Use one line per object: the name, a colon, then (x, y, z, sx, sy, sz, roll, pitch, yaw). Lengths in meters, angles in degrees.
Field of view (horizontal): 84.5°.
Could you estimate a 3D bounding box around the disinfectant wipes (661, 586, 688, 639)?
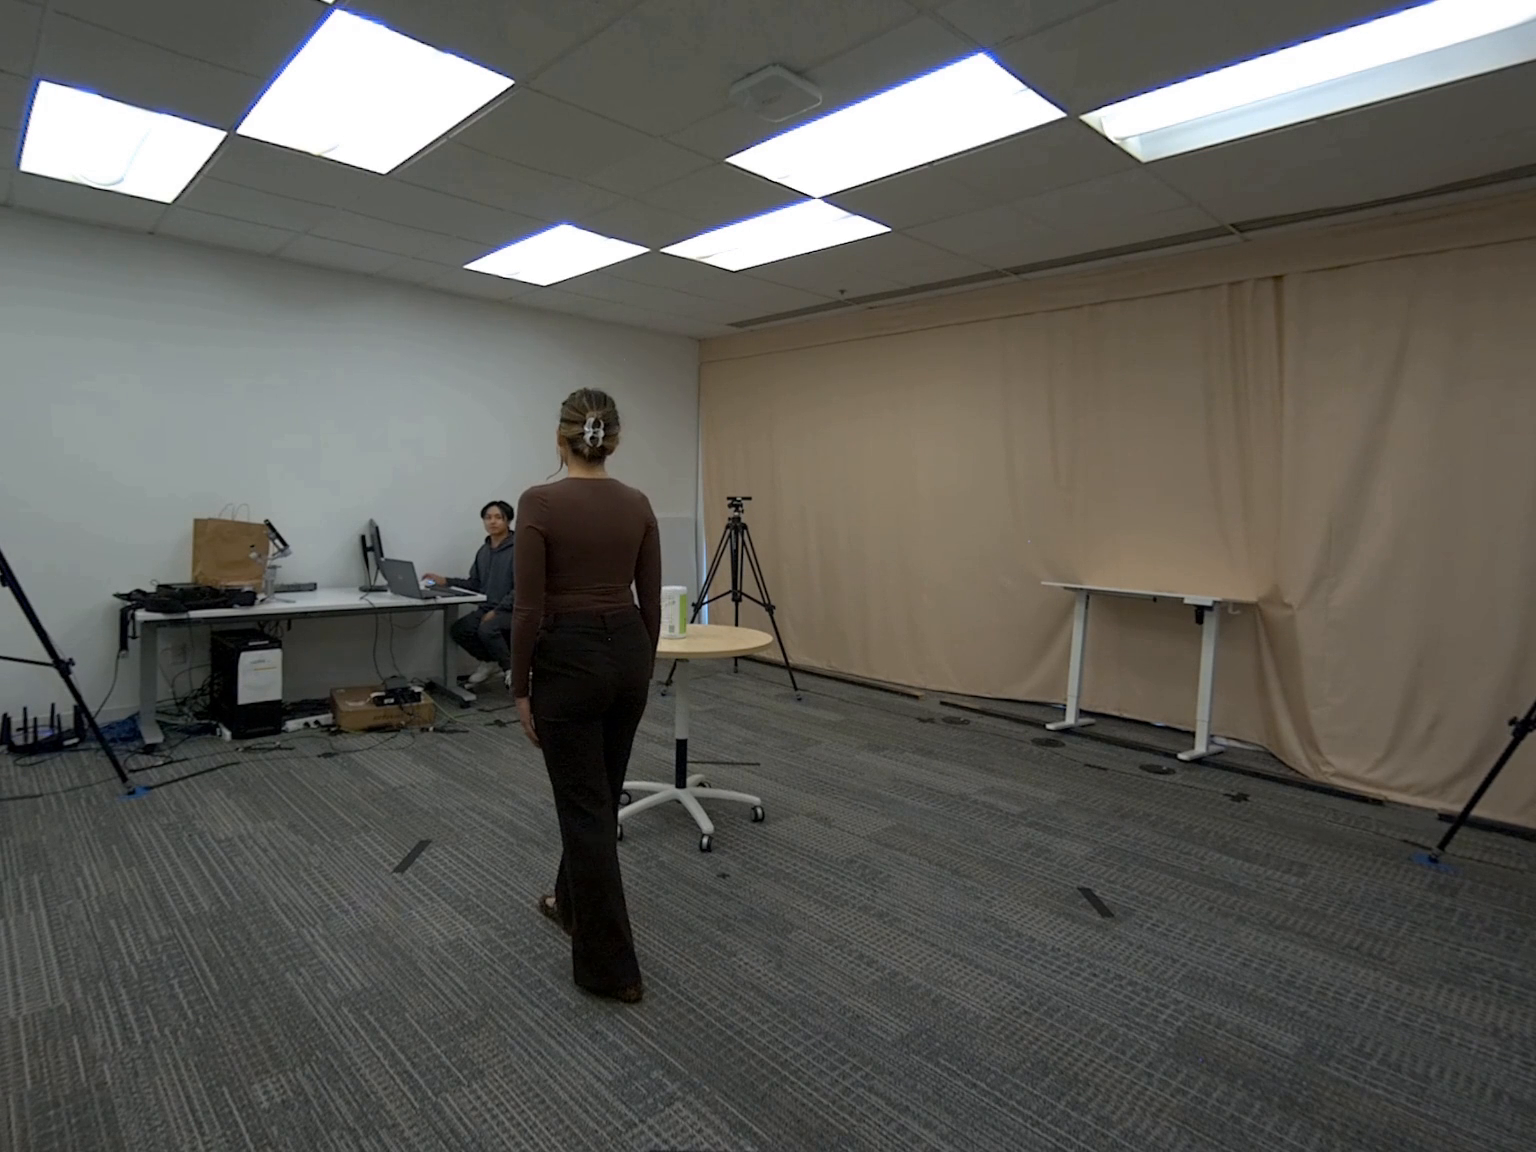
disinfectant wipes: (-0.409, 0.156, 3.577, 0.118, 0.217, 0.118, 2, 3, -1)
